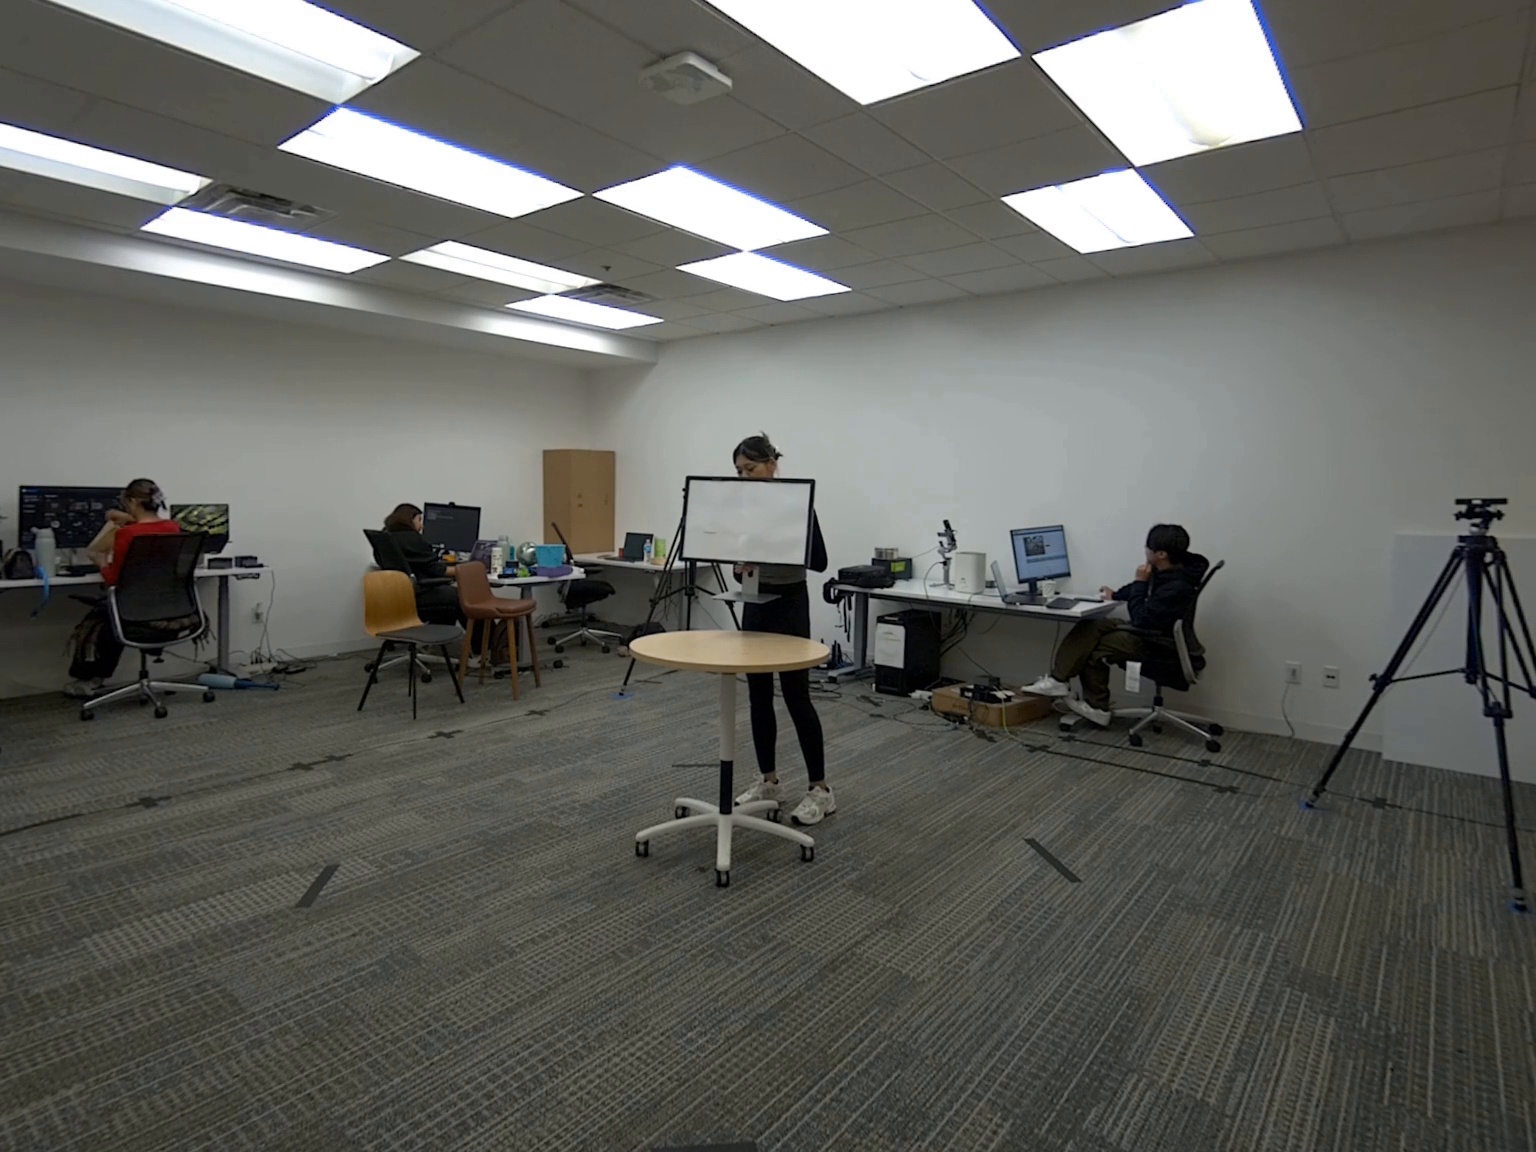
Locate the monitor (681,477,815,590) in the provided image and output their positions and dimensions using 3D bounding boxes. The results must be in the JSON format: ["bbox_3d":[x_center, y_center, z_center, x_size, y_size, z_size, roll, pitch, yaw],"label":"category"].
[{"bbox_3d":[-0.091,-0.154,3.539,0.550,0.519,0.185,3,8,18],"label":"monitor"}]
